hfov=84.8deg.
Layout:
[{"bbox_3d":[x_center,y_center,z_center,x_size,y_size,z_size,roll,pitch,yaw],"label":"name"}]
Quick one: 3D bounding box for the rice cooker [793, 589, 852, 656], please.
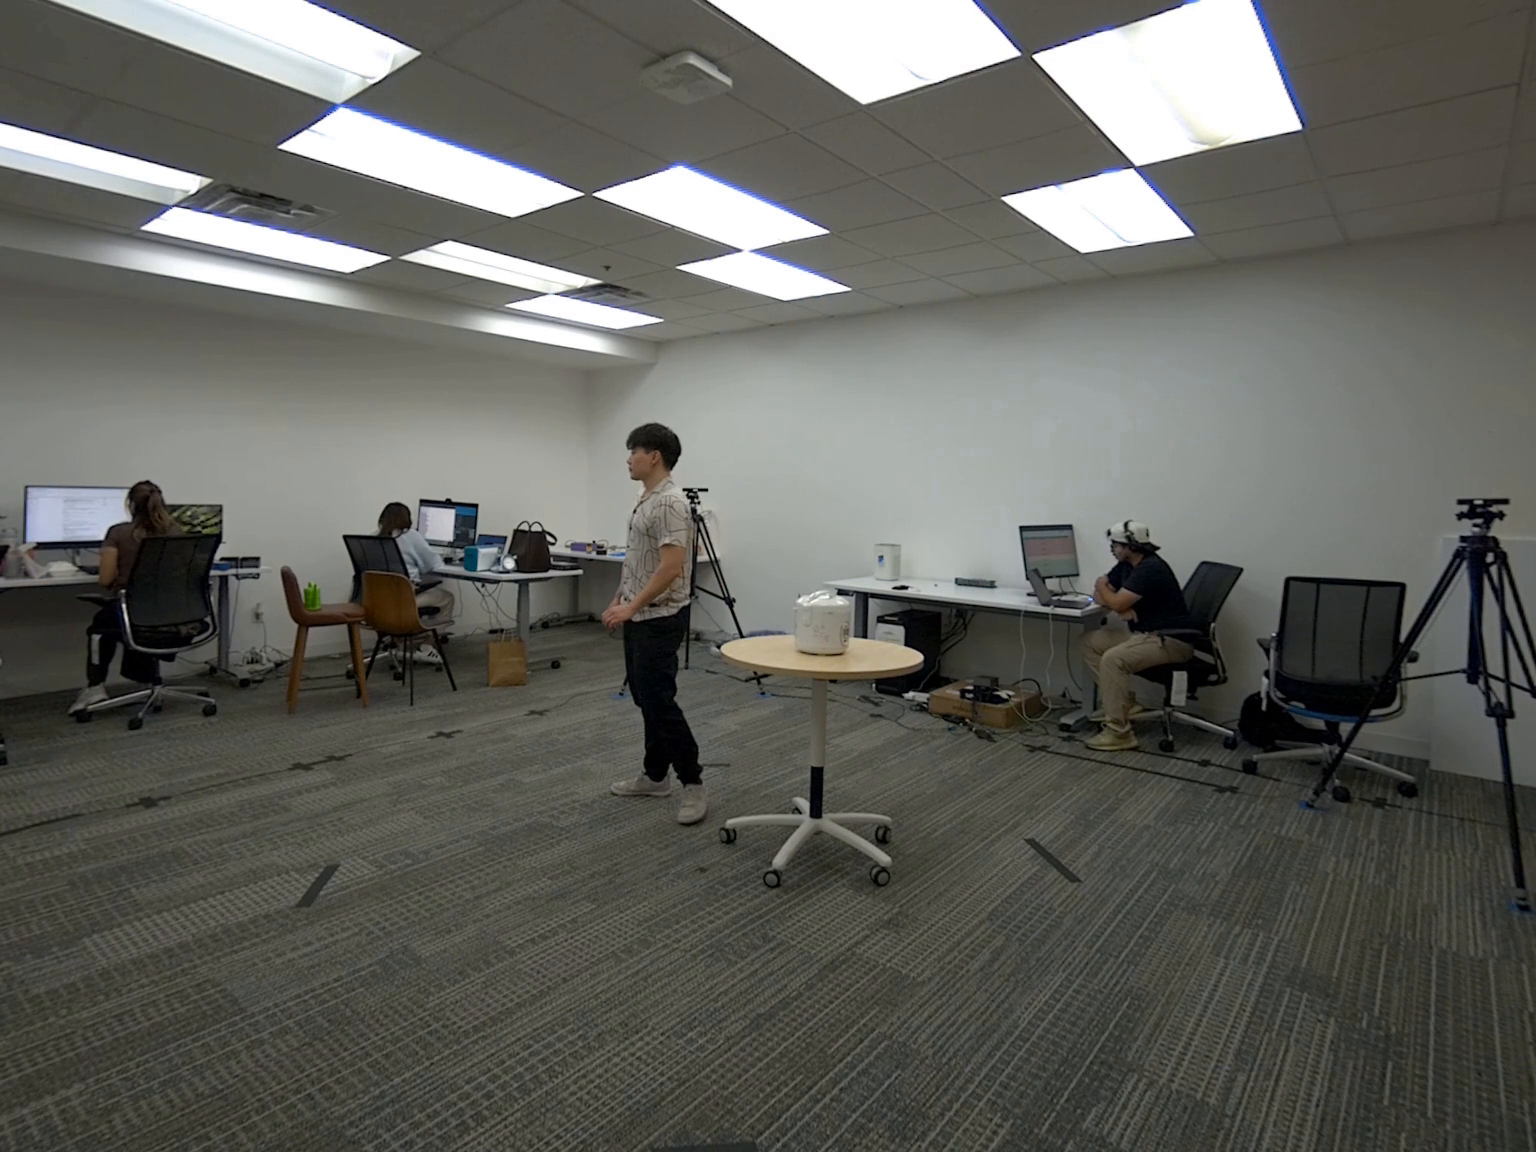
[{"bbox_3d":[0.200,0.168,3.229,0.224,0.232,0.214,2,4,41],"label":"rice cooker"}]
